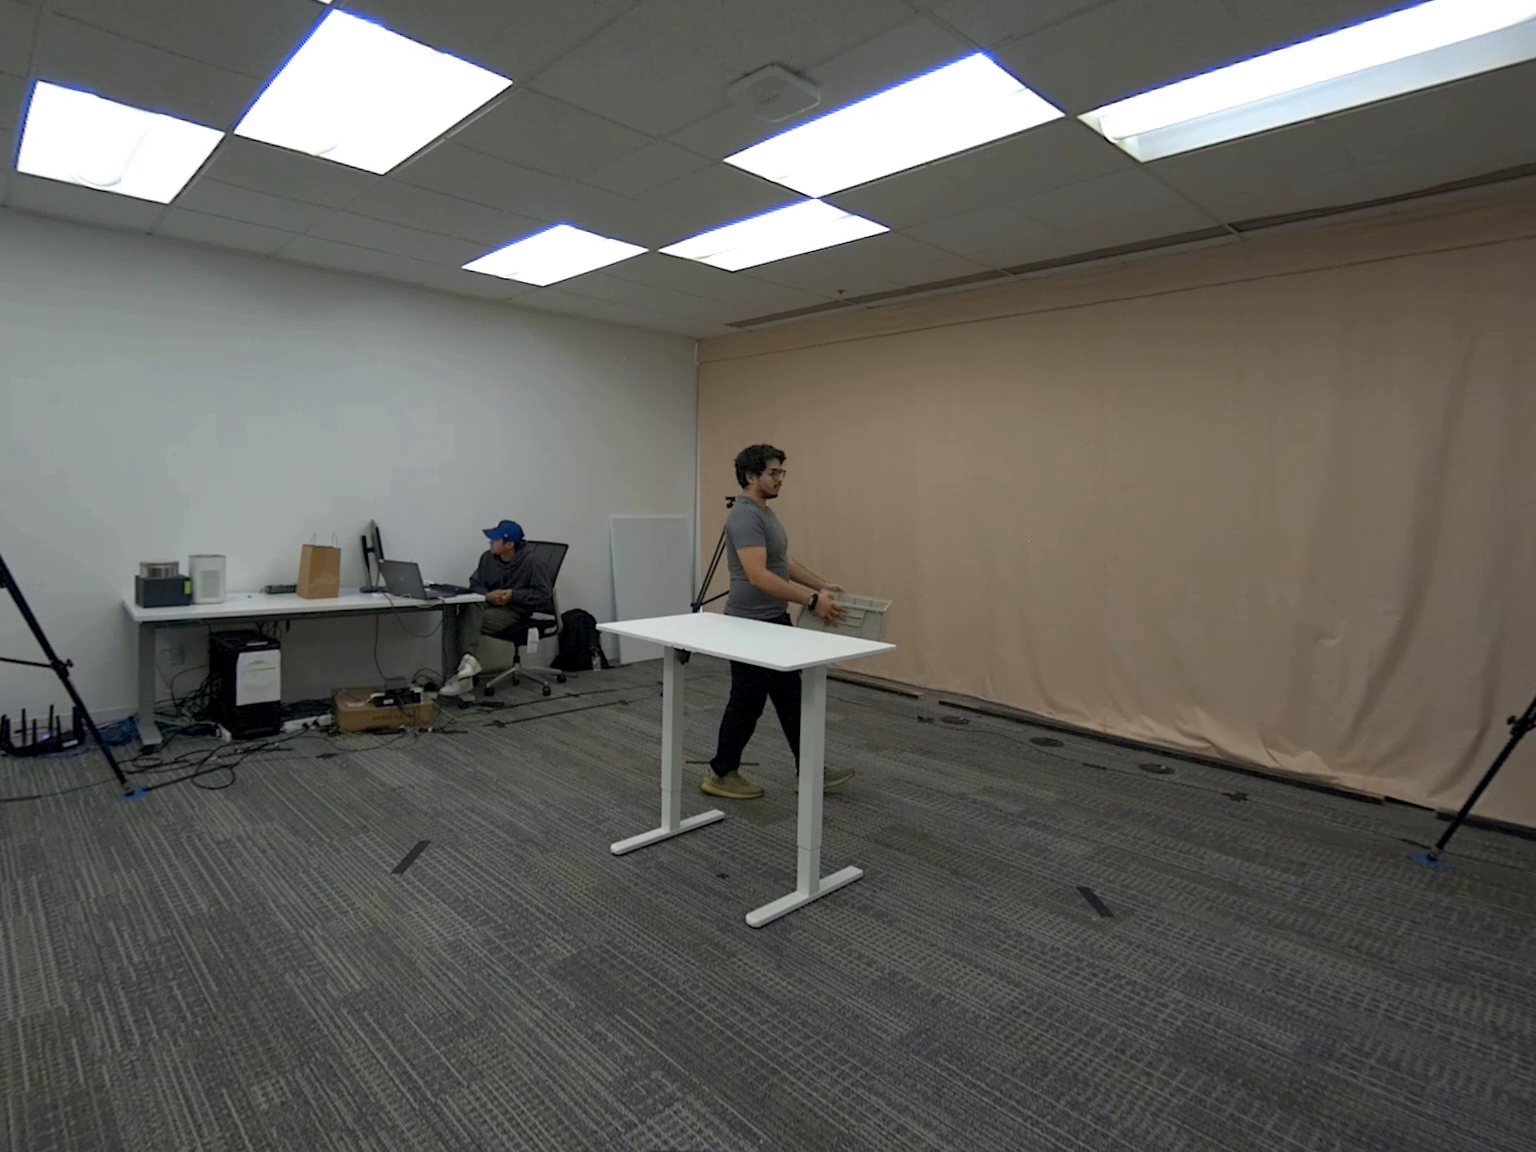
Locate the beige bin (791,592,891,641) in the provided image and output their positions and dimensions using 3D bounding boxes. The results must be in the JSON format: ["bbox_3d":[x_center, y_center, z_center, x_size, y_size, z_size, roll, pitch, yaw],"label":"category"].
[{"bbox_3d":[0.345,0.179,3.824,0.382,0.189,0.417,8,3,14],"label":"beige bin"}]
